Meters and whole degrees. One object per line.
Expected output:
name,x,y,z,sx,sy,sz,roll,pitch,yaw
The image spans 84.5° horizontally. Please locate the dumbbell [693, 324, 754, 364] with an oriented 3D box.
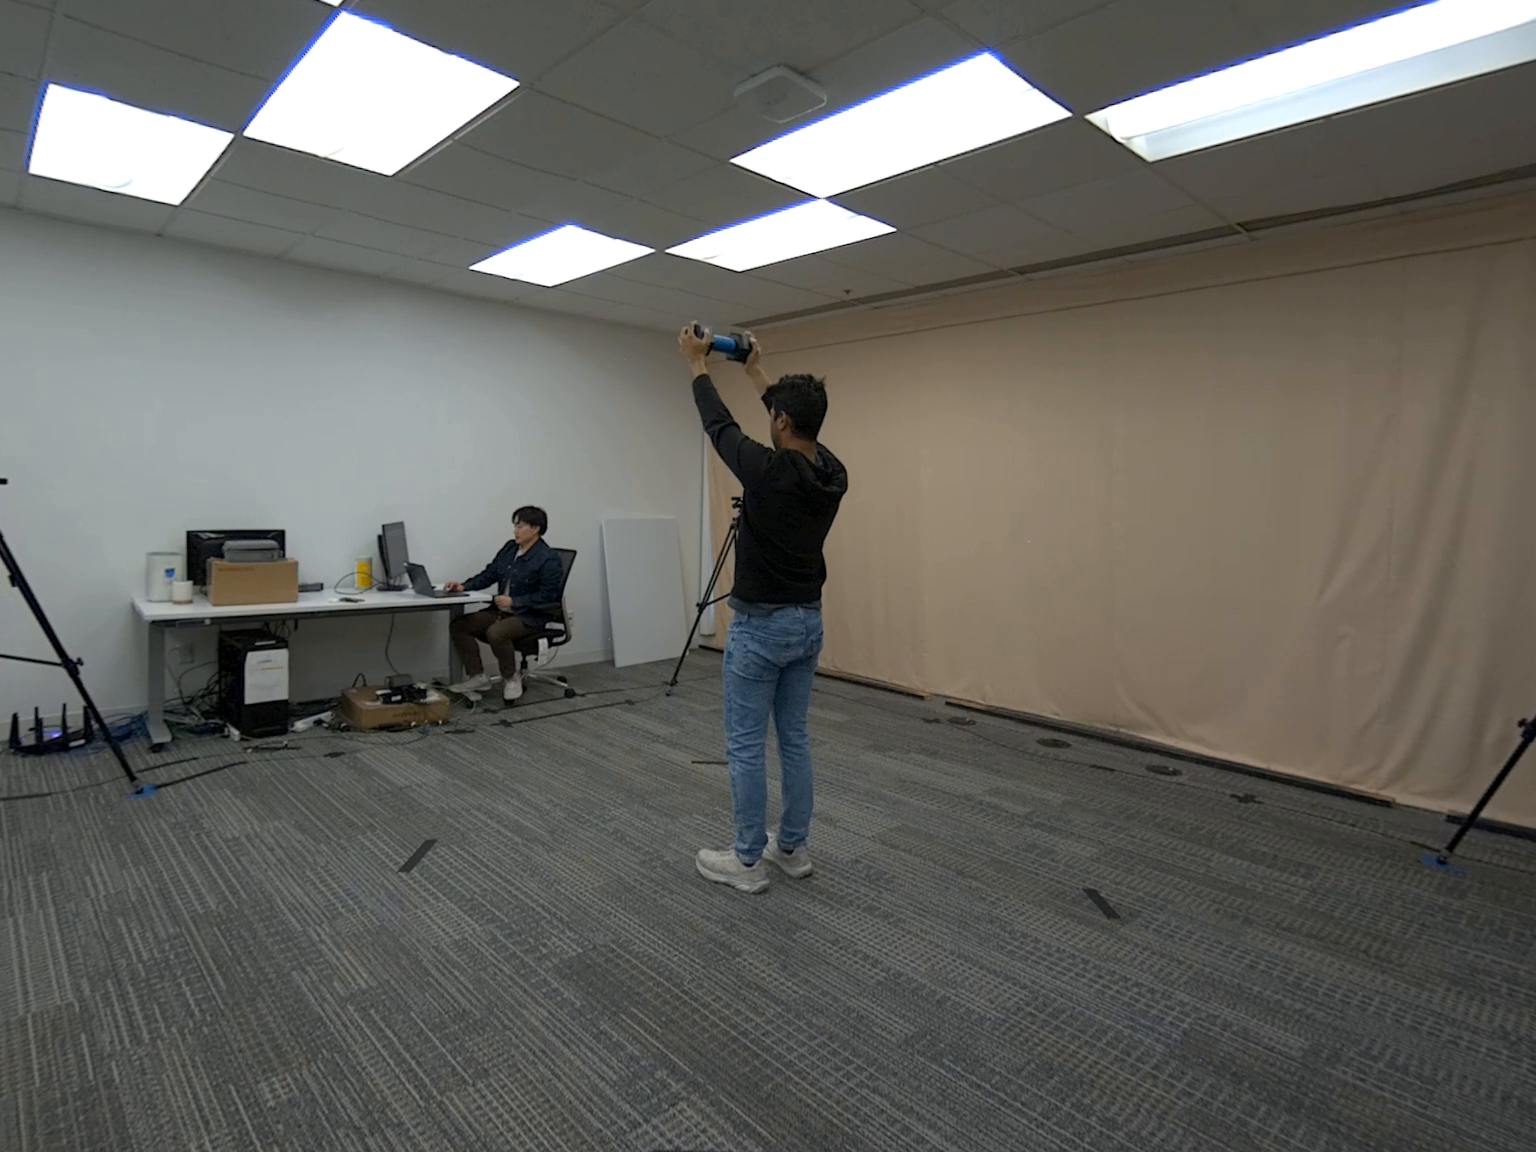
dumbbell,-0.193,-0.887,3.218,0.287,0.111,0.122,-3,-39,-42
